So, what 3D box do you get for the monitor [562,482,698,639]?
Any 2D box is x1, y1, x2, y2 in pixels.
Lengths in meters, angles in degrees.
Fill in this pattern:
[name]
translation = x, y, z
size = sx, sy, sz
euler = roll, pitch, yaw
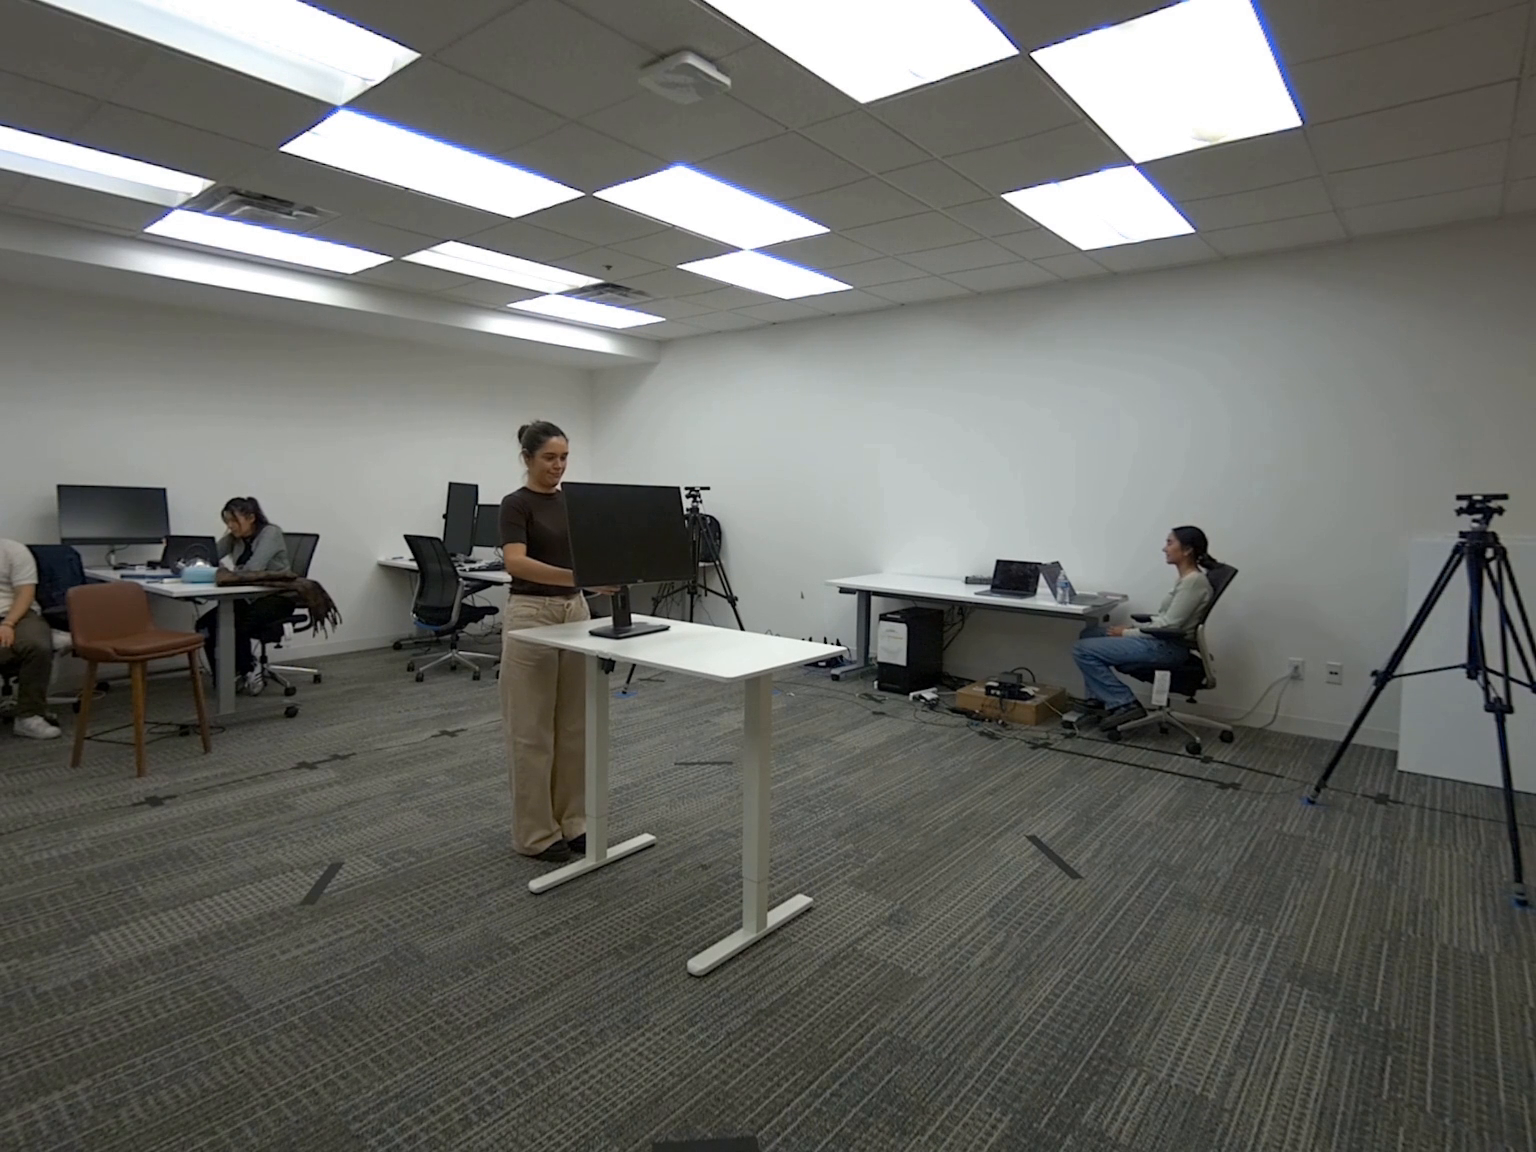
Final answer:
[monitor]
translation = -0.501, -0.058, 2.951
size = 0.193, 0.522, 0.523
euler = 1, 2, 39
